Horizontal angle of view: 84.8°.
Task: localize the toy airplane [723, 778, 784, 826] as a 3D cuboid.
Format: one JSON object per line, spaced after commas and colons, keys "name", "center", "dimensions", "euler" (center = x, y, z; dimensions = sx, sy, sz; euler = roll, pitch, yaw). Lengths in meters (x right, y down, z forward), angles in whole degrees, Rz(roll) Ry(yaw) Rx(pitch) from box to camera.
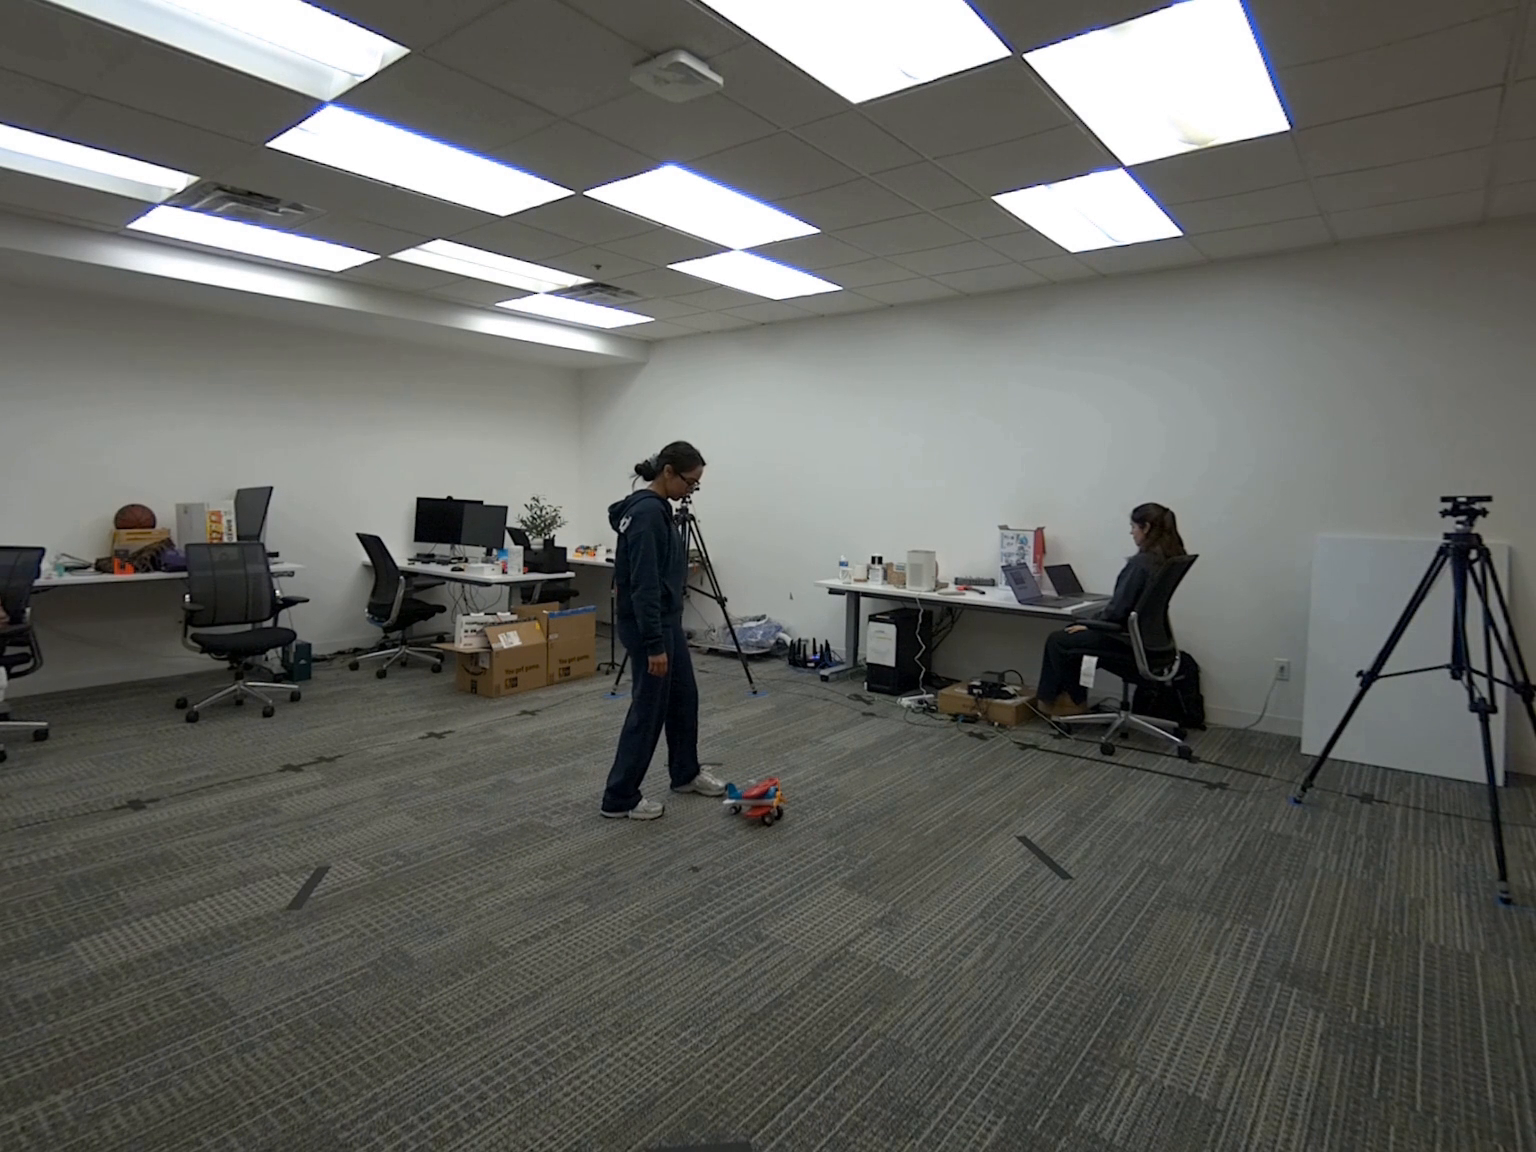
{"name": "toy airplane", "center": [-0.071, 0.949, 3.583], "dimensions": [0.259, 0.156, 0.252], "euler": [2, 4, -1]}
